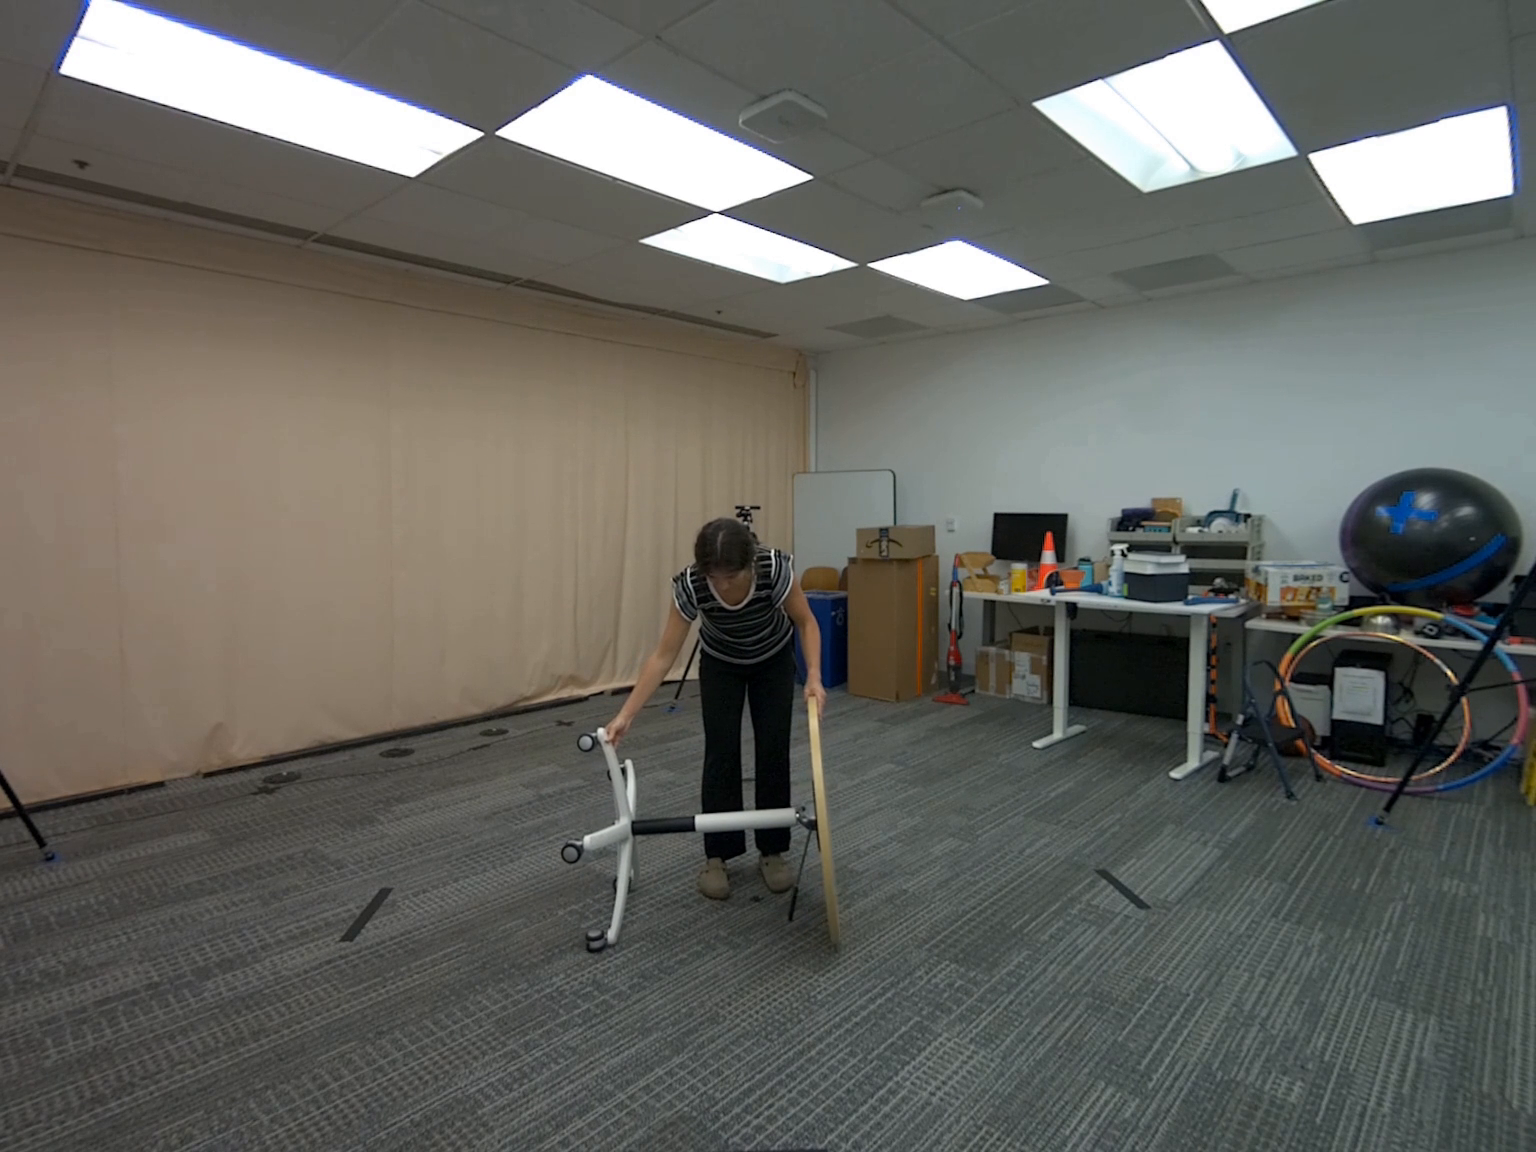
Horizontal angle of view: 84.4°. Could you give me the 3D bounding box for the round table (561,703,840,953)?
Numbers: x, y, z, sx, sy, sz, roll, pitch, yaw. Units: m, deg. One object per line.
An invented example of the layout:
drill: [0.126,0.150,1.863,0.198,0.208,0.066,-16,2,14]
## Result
round table: [-0.202,0.834,2.789,0.798,0.762,0.761,-6,3,4]
